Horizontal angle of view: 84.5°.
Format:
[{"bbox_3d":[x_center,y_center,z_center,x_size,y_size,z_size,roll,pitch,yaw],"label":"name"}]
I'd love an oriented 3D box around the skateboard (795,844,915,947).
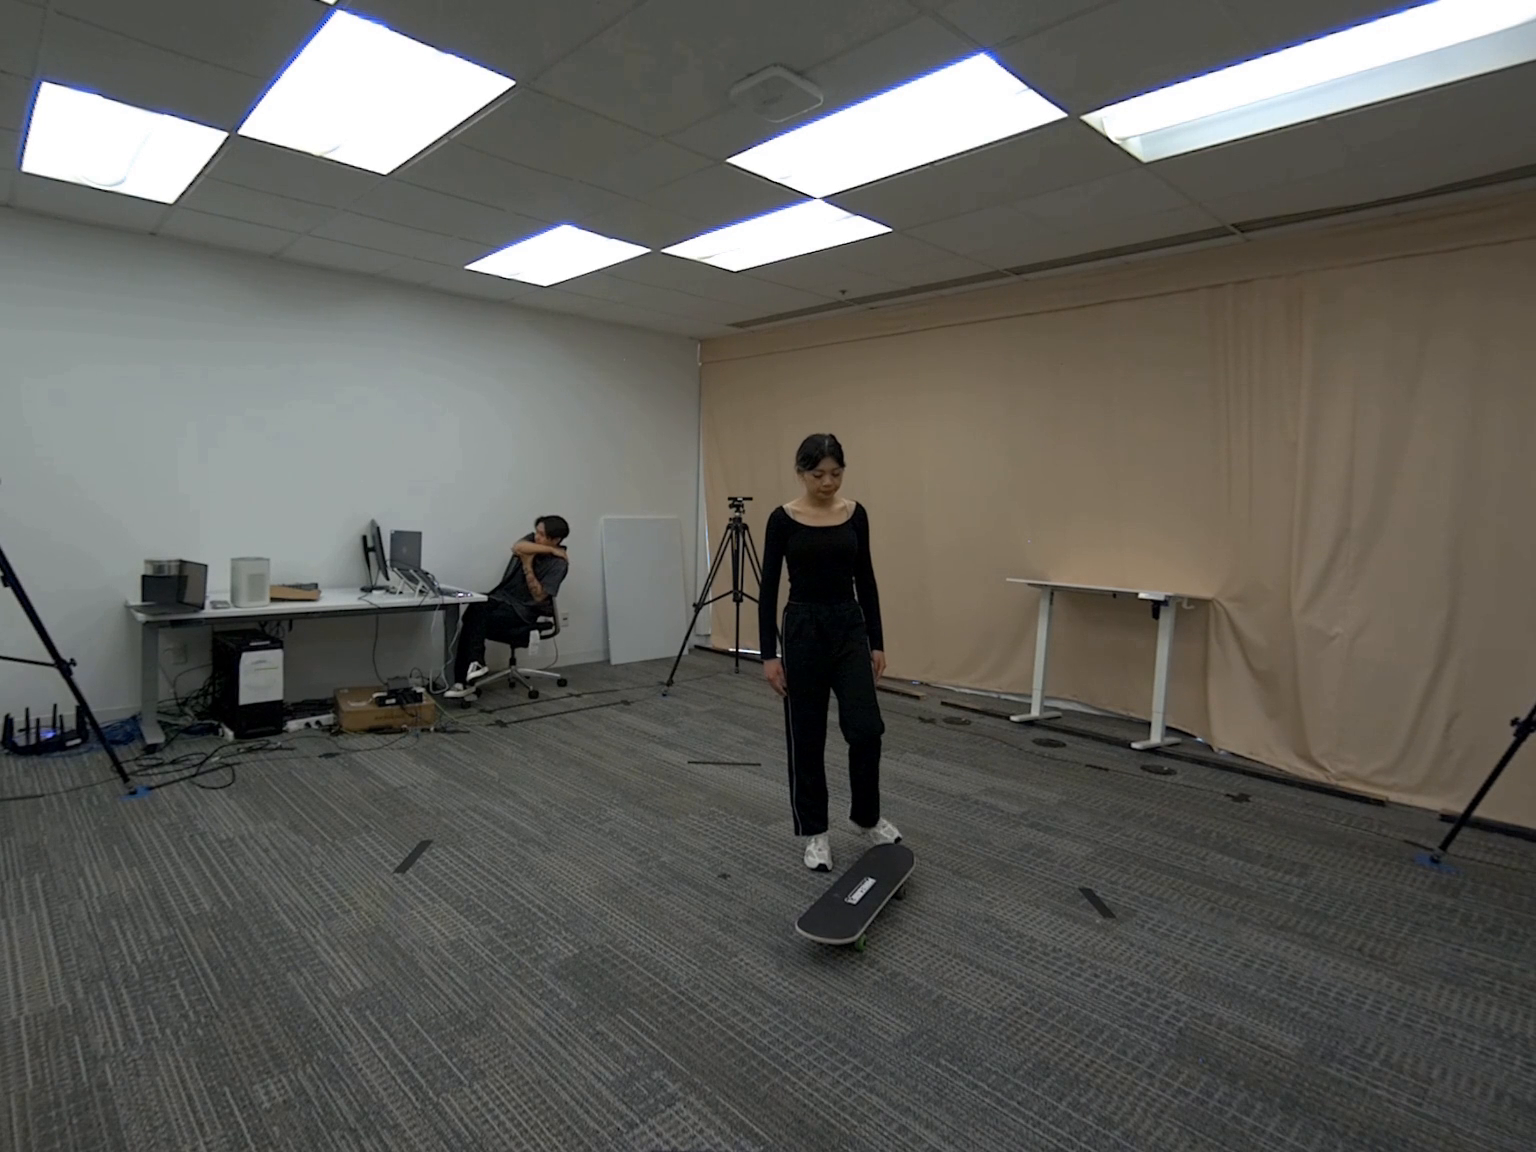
[{"bbox_3d":[0.300,1.085,2.819,0.197,0.110,0.772,4,6,26],"label":"skateboard"}]
